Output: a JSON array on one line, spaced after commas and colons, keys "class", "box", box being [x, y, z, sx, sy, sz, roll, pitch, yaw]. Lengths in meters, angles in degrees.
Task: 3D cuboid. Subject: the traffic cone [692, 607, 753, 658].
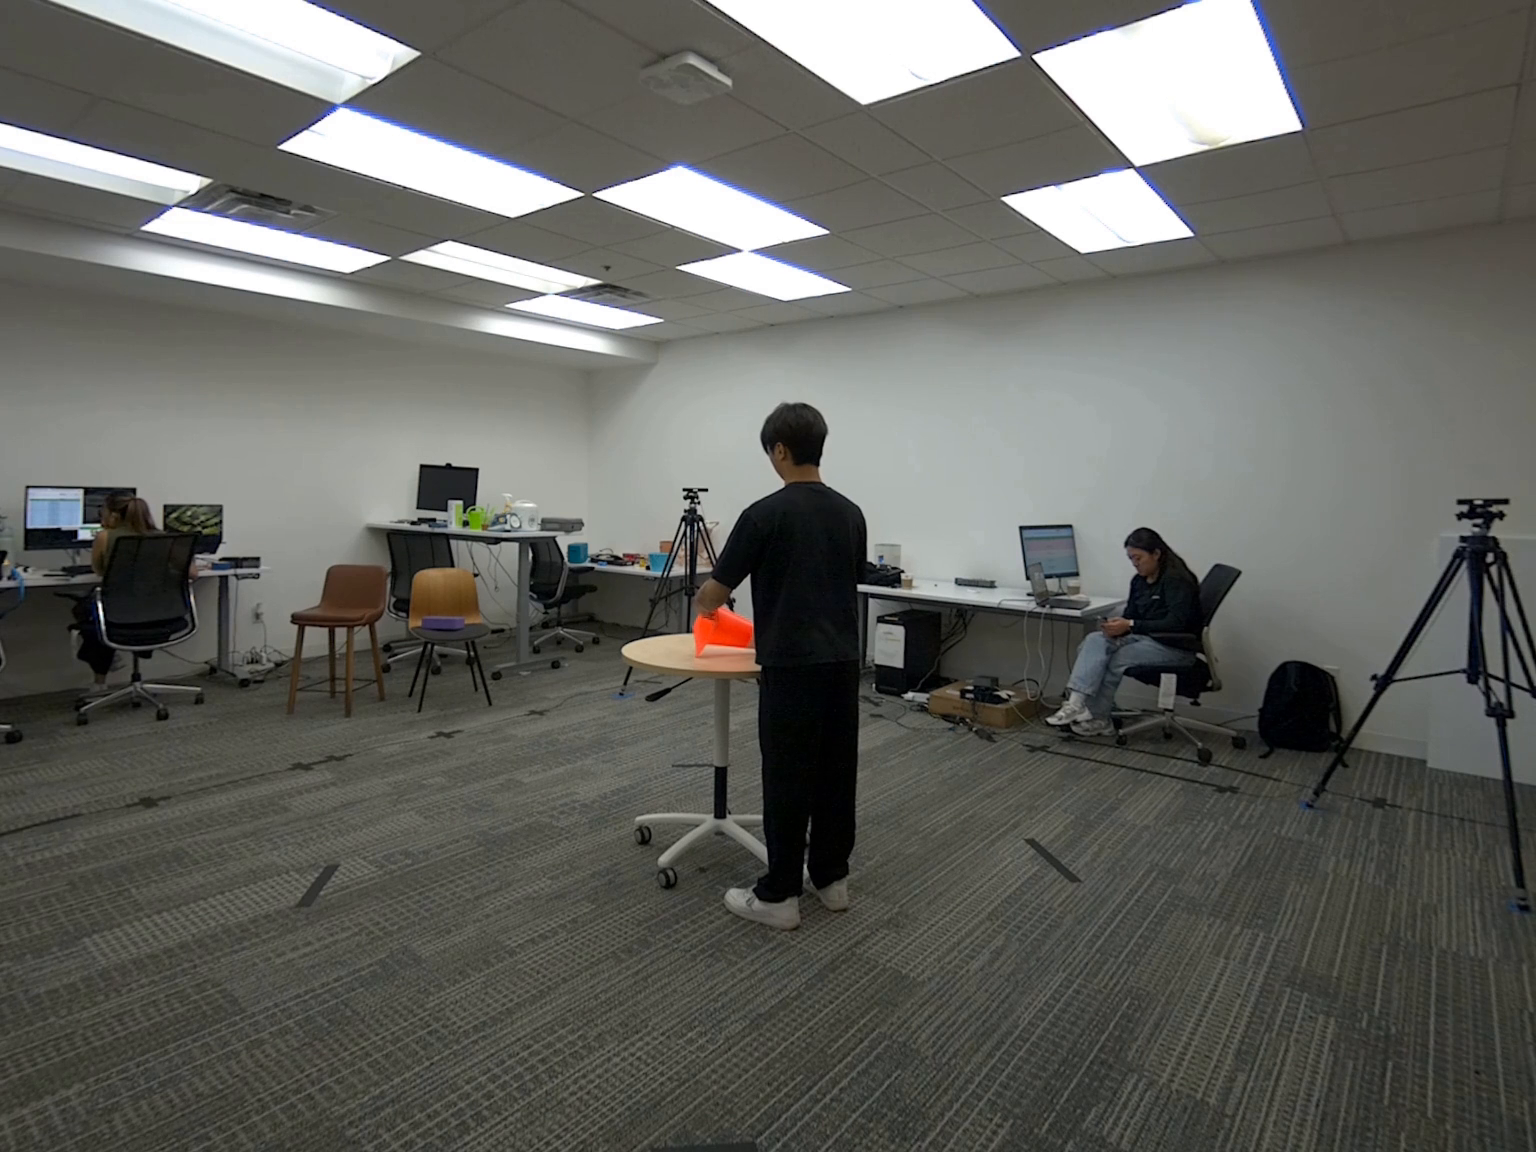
[{"class": "traffic cone", "box": [-0.060, 0.218, 3.150, 0.377, 0.203, 0.209, 15, 25, -14]}]
